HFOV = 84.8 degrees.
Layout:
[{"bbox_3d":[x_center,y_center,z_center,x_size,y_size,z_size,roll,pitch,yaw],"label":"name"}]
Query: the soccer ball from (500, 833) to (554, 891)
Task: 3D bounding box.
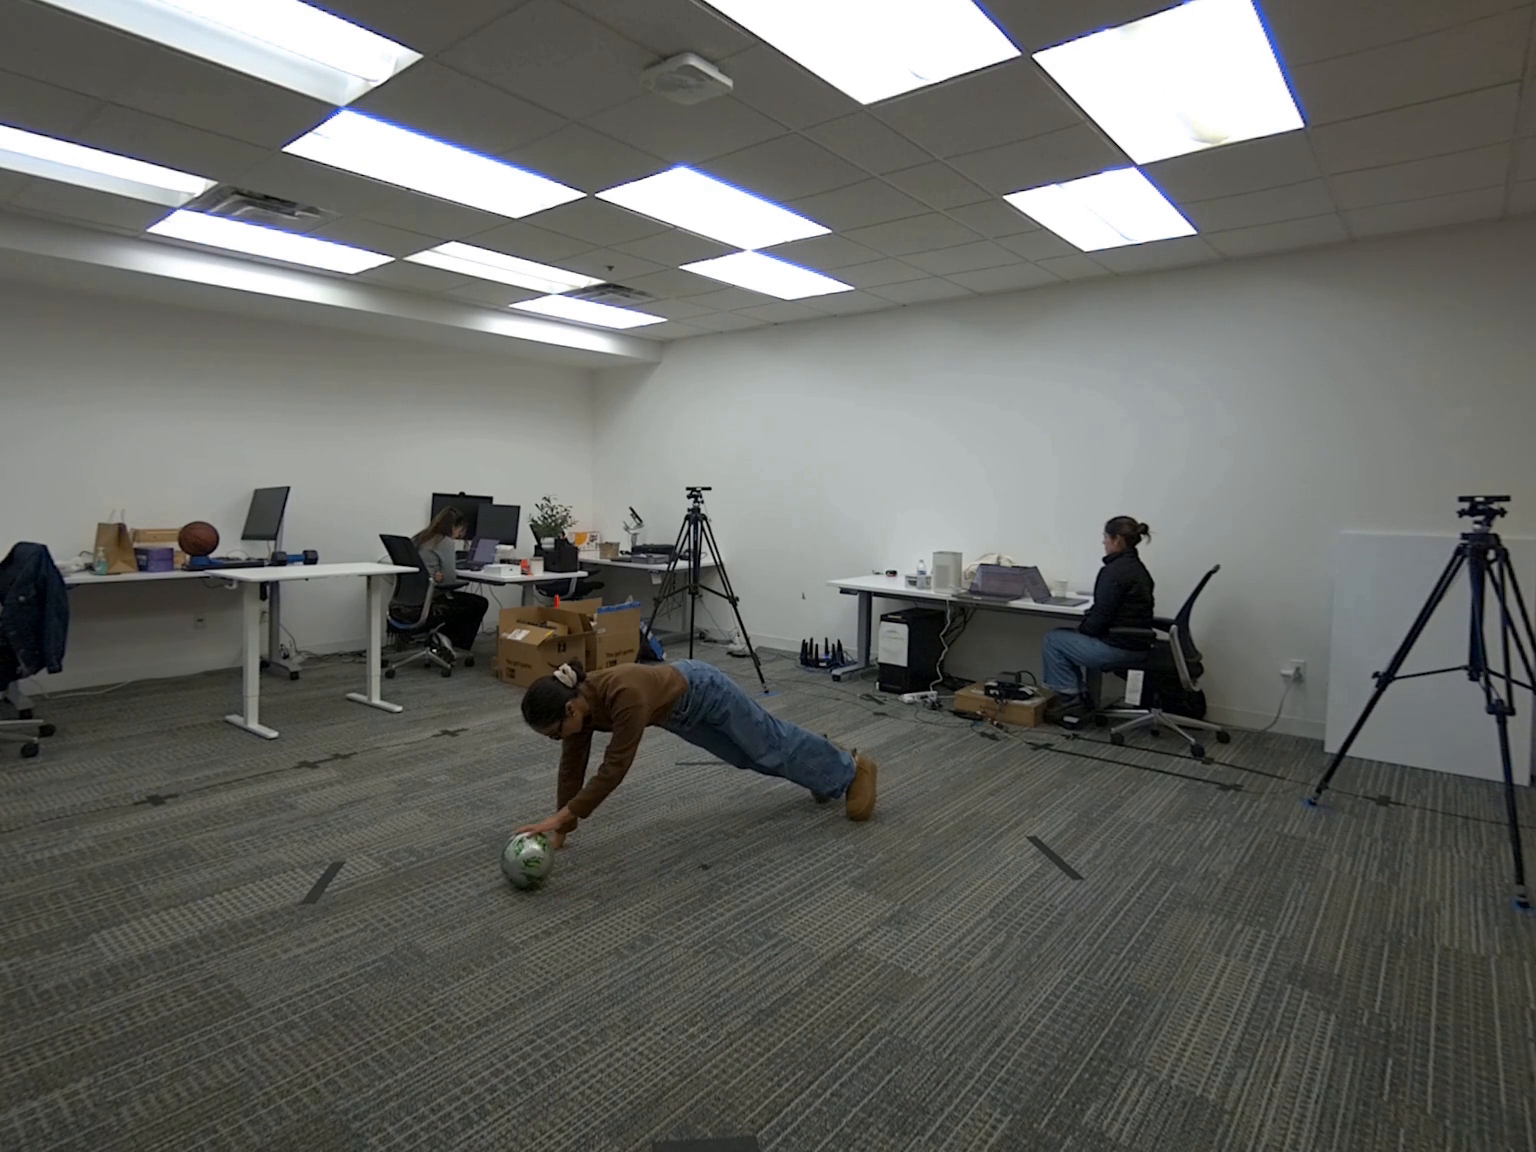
[{"bbox_3d":[-0.835,0.983,2.943,0.187,0.187,0.188,1,4,-2],"label":"soccer ball"}]
